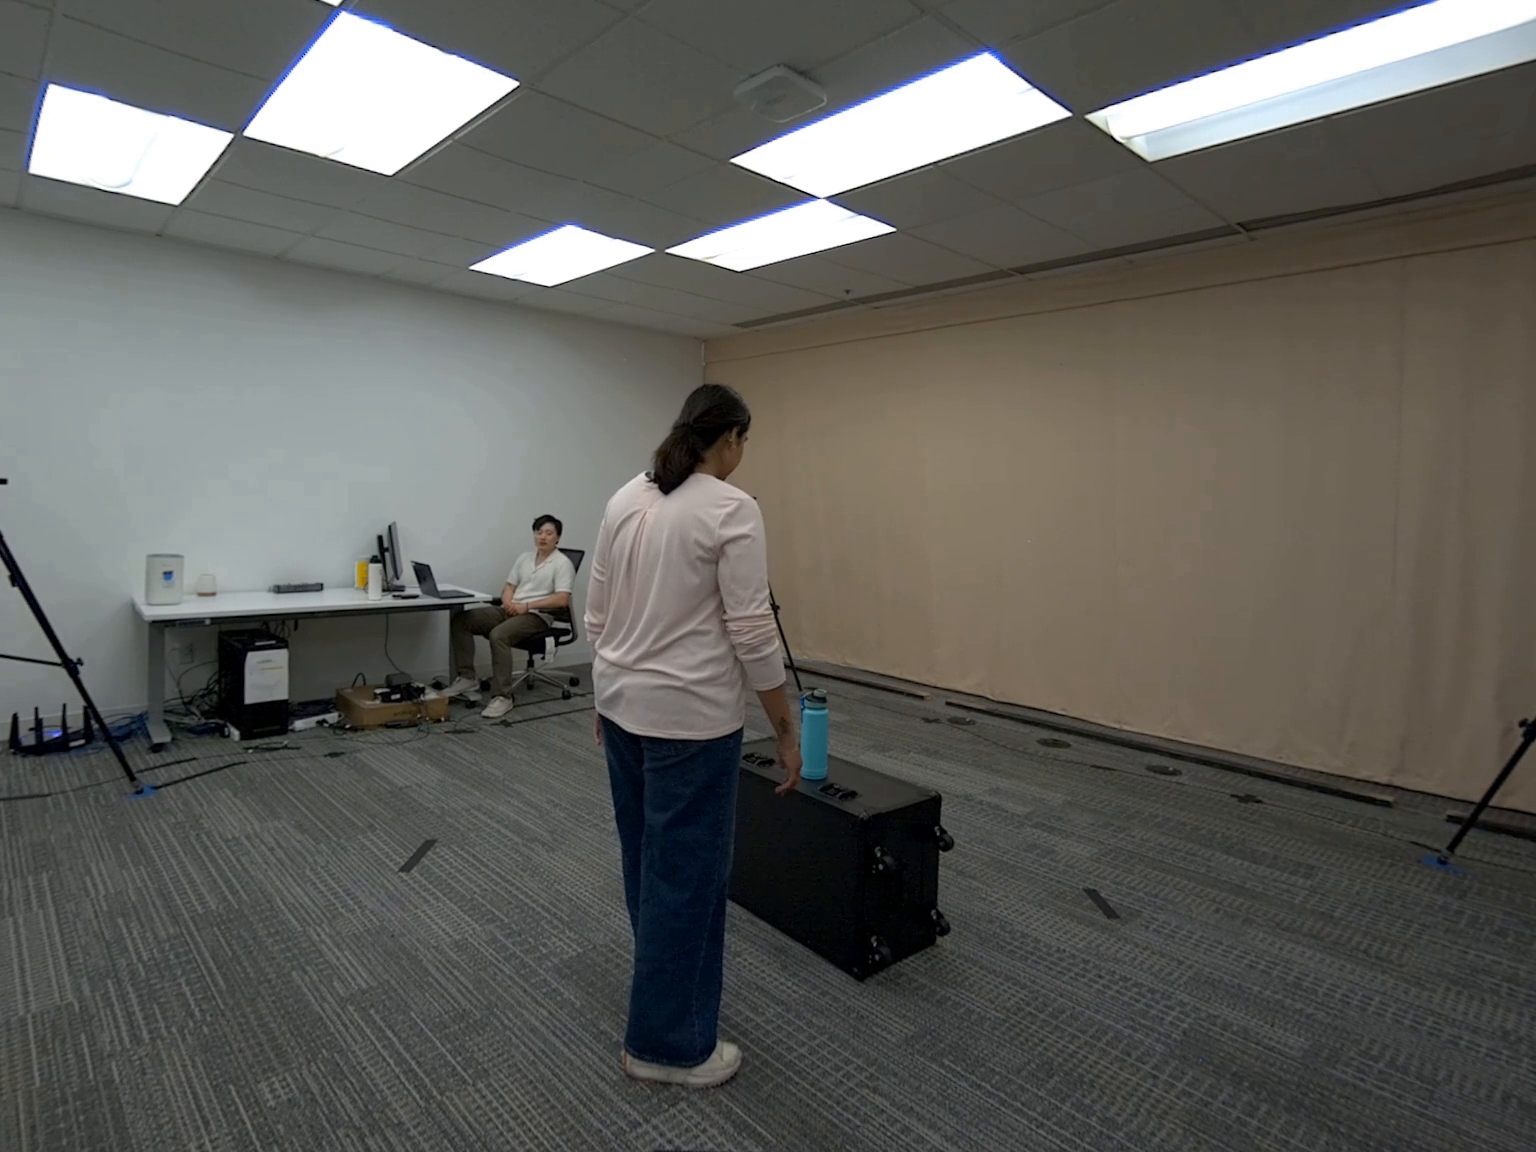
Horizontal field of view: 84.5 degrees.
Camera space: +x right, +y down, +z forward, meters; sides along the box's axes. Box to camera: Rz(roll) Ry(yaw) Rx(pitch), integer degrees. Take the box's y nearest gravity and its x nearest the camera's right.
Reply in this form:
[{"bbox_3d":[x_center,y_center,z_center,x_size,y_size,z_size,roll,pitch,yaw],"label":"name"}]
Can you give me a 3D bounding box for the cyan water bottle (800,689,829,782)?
[{"bbox_3d":[0.148,0.523,2.777,0.092,0.283,0.092,0,3,-1],"label":"cyan water bottle"}]
